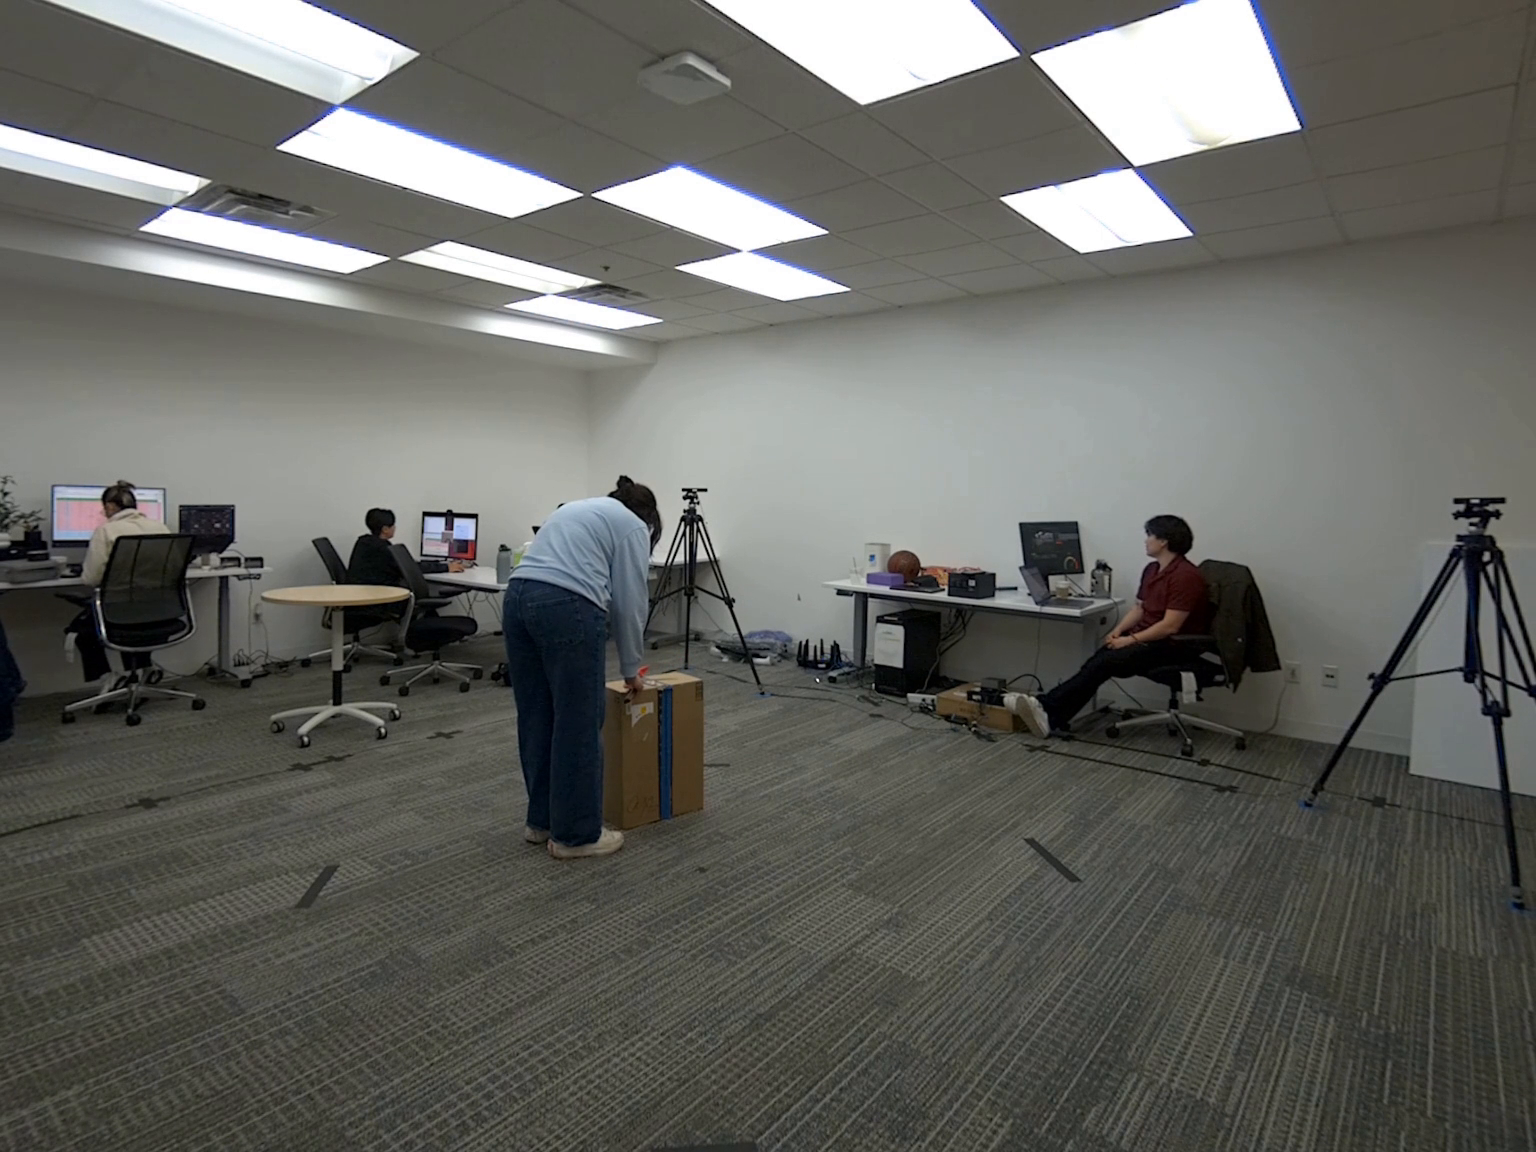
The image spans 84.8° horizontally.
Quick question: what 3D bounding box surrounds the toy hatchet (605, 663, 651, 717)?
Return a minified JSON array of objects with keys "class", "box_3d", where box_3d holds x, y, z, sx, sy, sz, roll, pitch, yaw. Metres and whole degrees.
[{"class":"toy hatchet","box_3d":[-0.583,0.461,3.444,0.132,0.029,0.272,-29,16,21]}]
